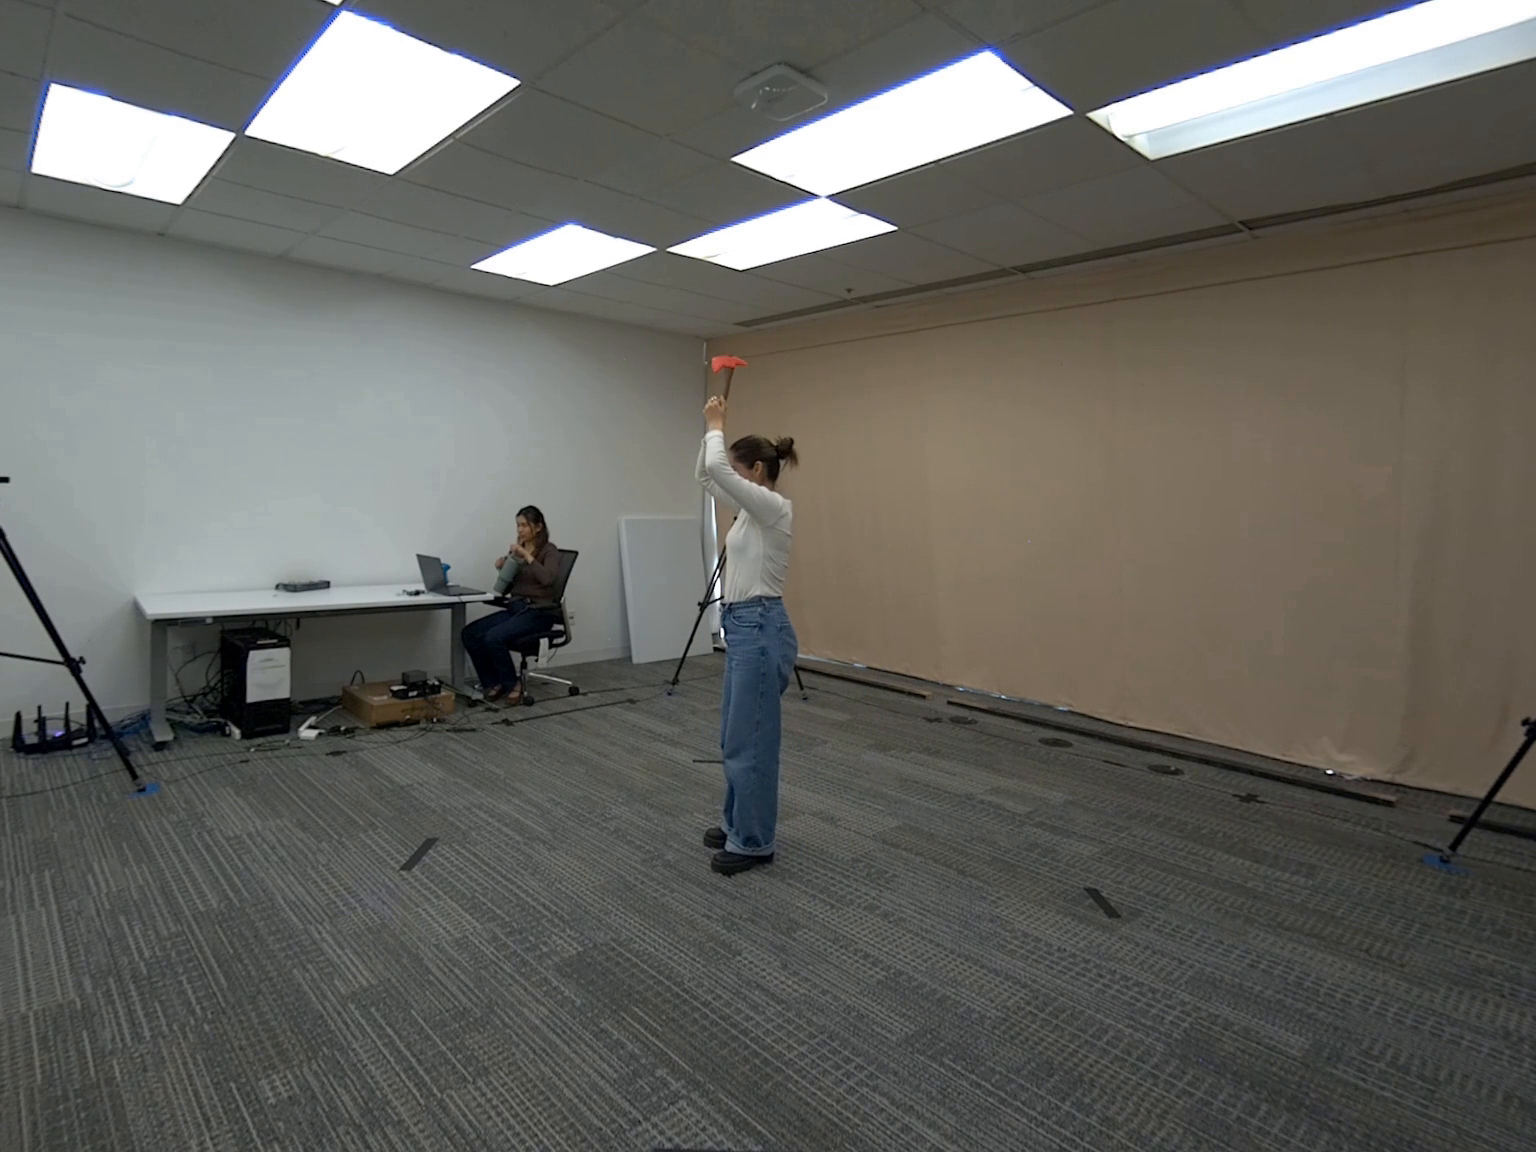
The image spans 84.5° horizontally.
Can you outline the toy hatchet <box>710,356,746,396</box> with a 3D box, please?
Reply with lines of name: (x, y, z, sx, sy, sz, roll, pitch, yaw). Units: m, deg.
toy hatchet: (-0.199, -0.729, 3.216, 0.131, 0.270, 0.029, 27, -7, 4)
